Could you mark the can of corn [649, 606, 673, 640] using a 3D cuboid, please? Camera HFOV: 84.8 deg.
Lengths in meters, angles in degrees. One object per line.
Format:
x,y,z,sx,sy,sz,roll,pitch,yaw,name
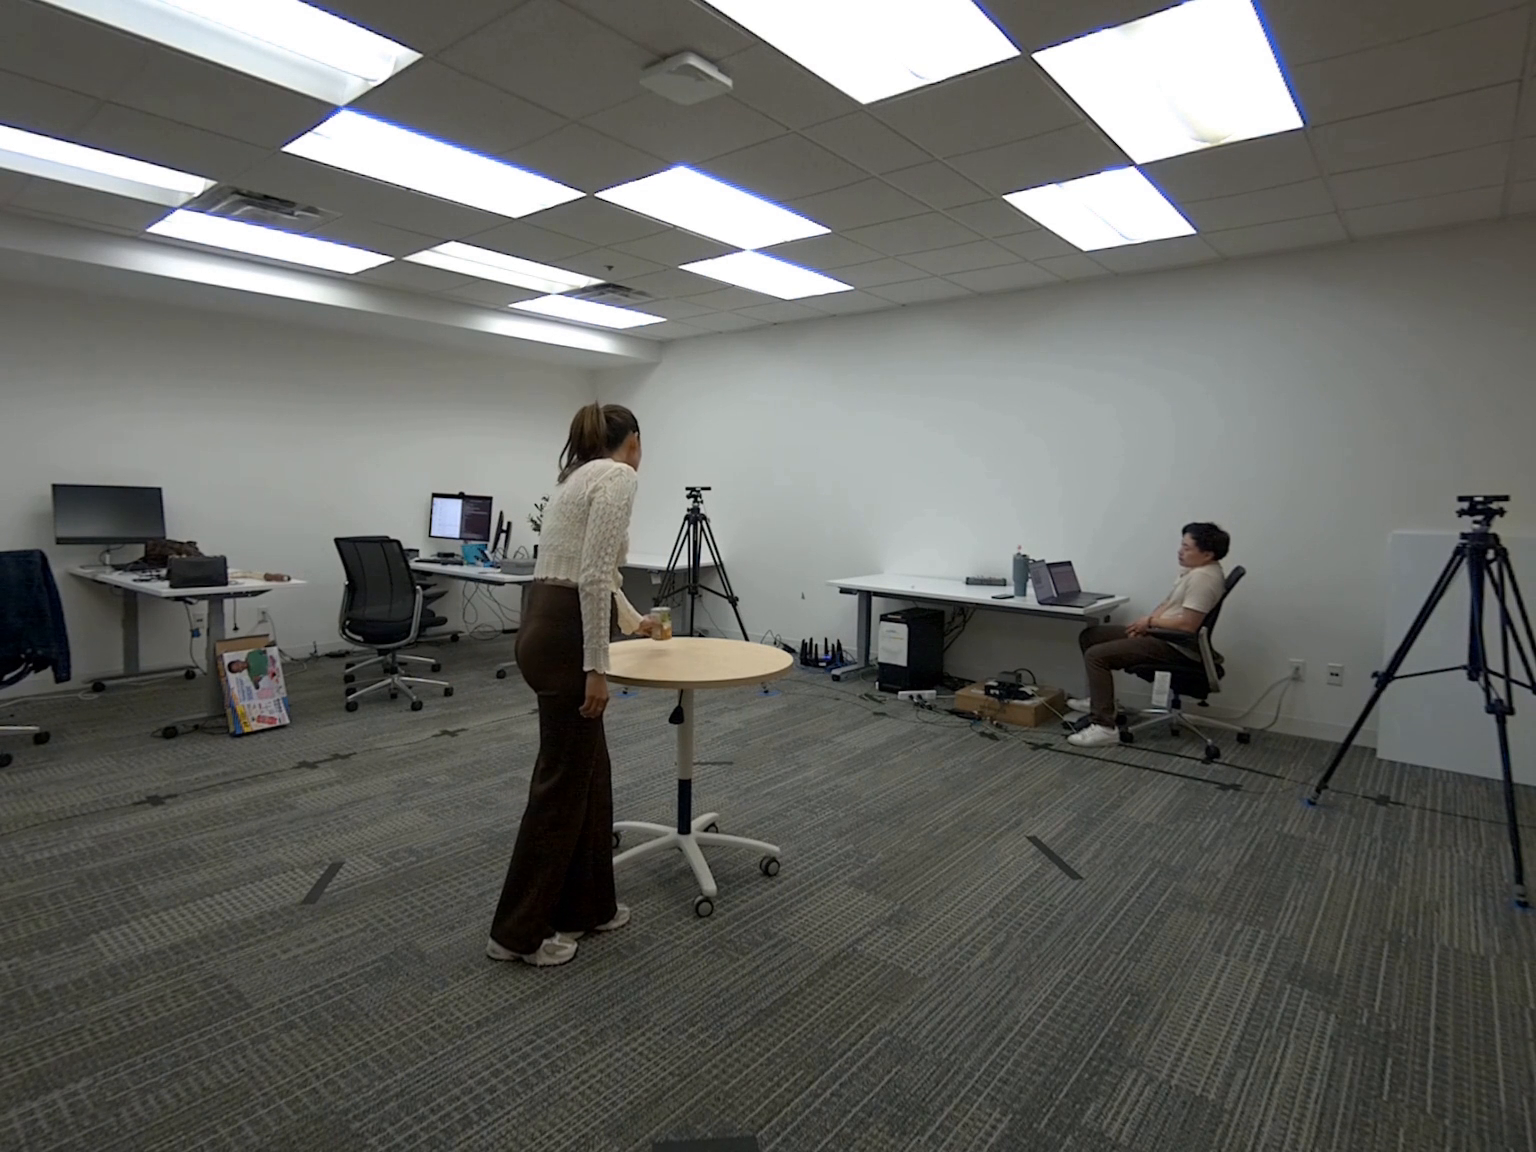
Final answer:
-0.410,0.176,3.140,0.074,0.110,0.075,-2,7,-2,can of corn
